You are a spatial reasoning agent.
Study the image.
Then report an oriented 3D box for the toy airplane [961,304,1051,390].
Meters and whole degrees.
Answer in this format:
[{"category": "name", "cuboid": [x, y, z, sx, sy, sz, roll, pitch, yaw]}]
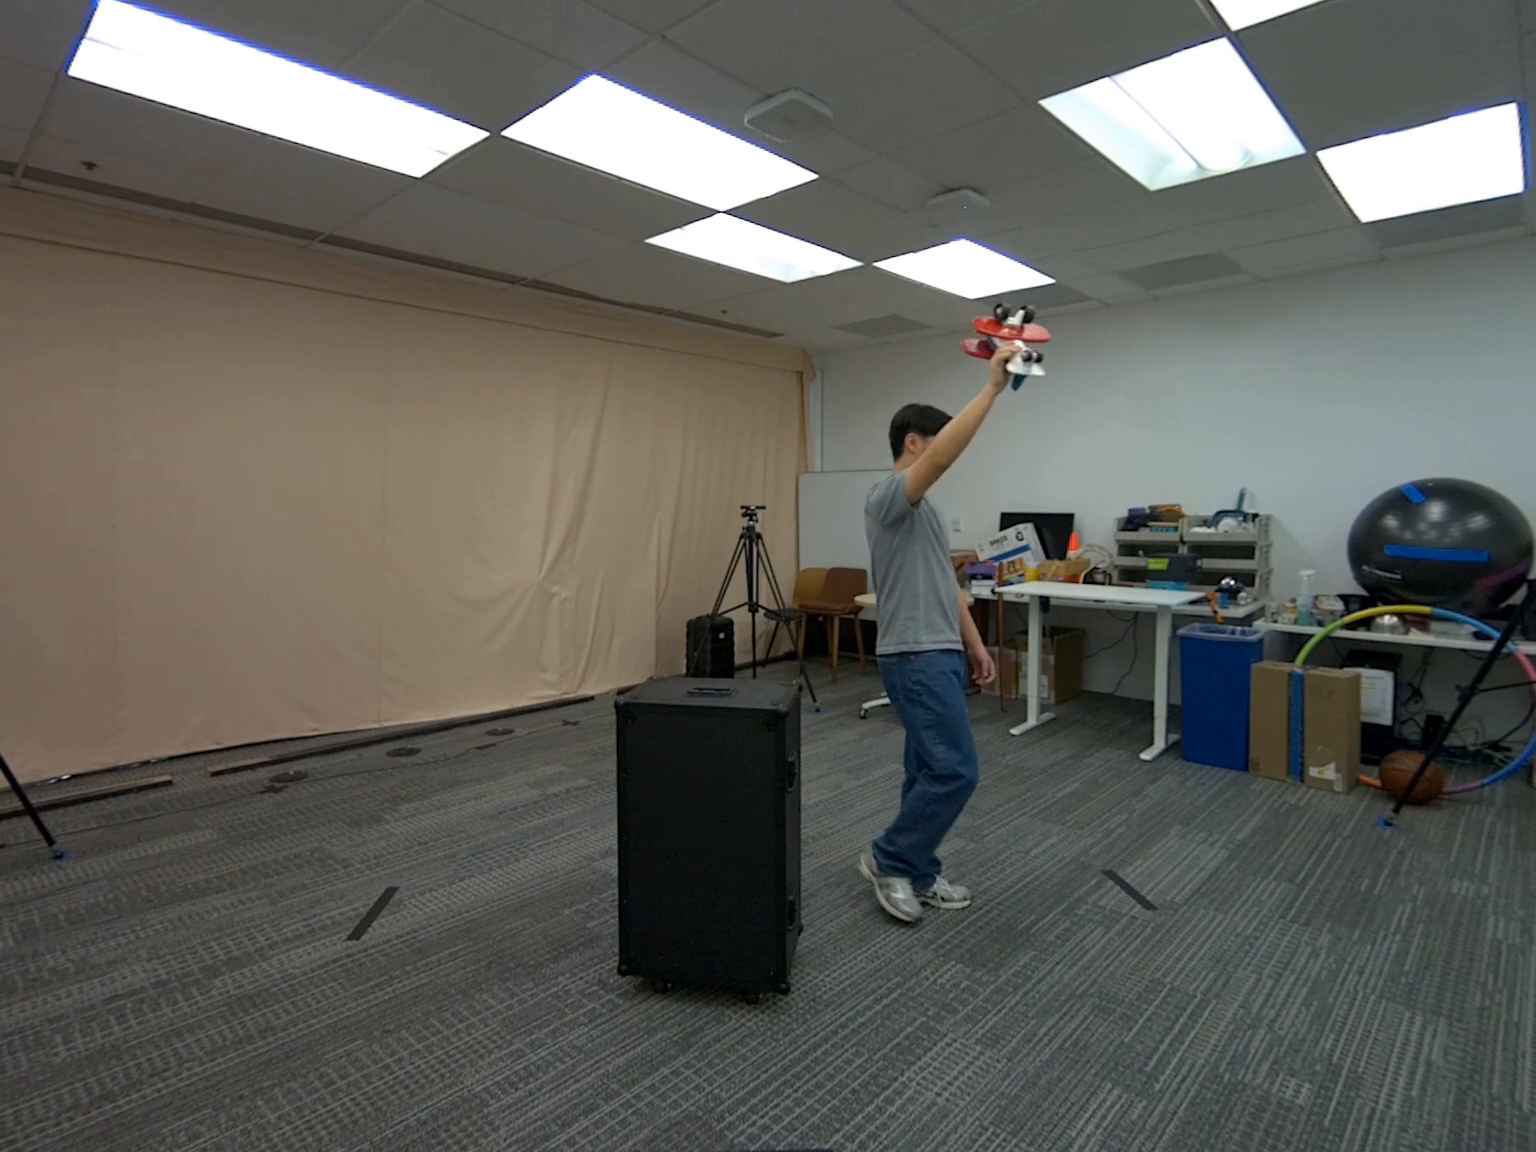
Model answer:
[{"category": "toy airplane", "cuboid": [0.727, -0.690, 2.516, 0.251, 0.260, 0.156, 27, -31, -1]}]
